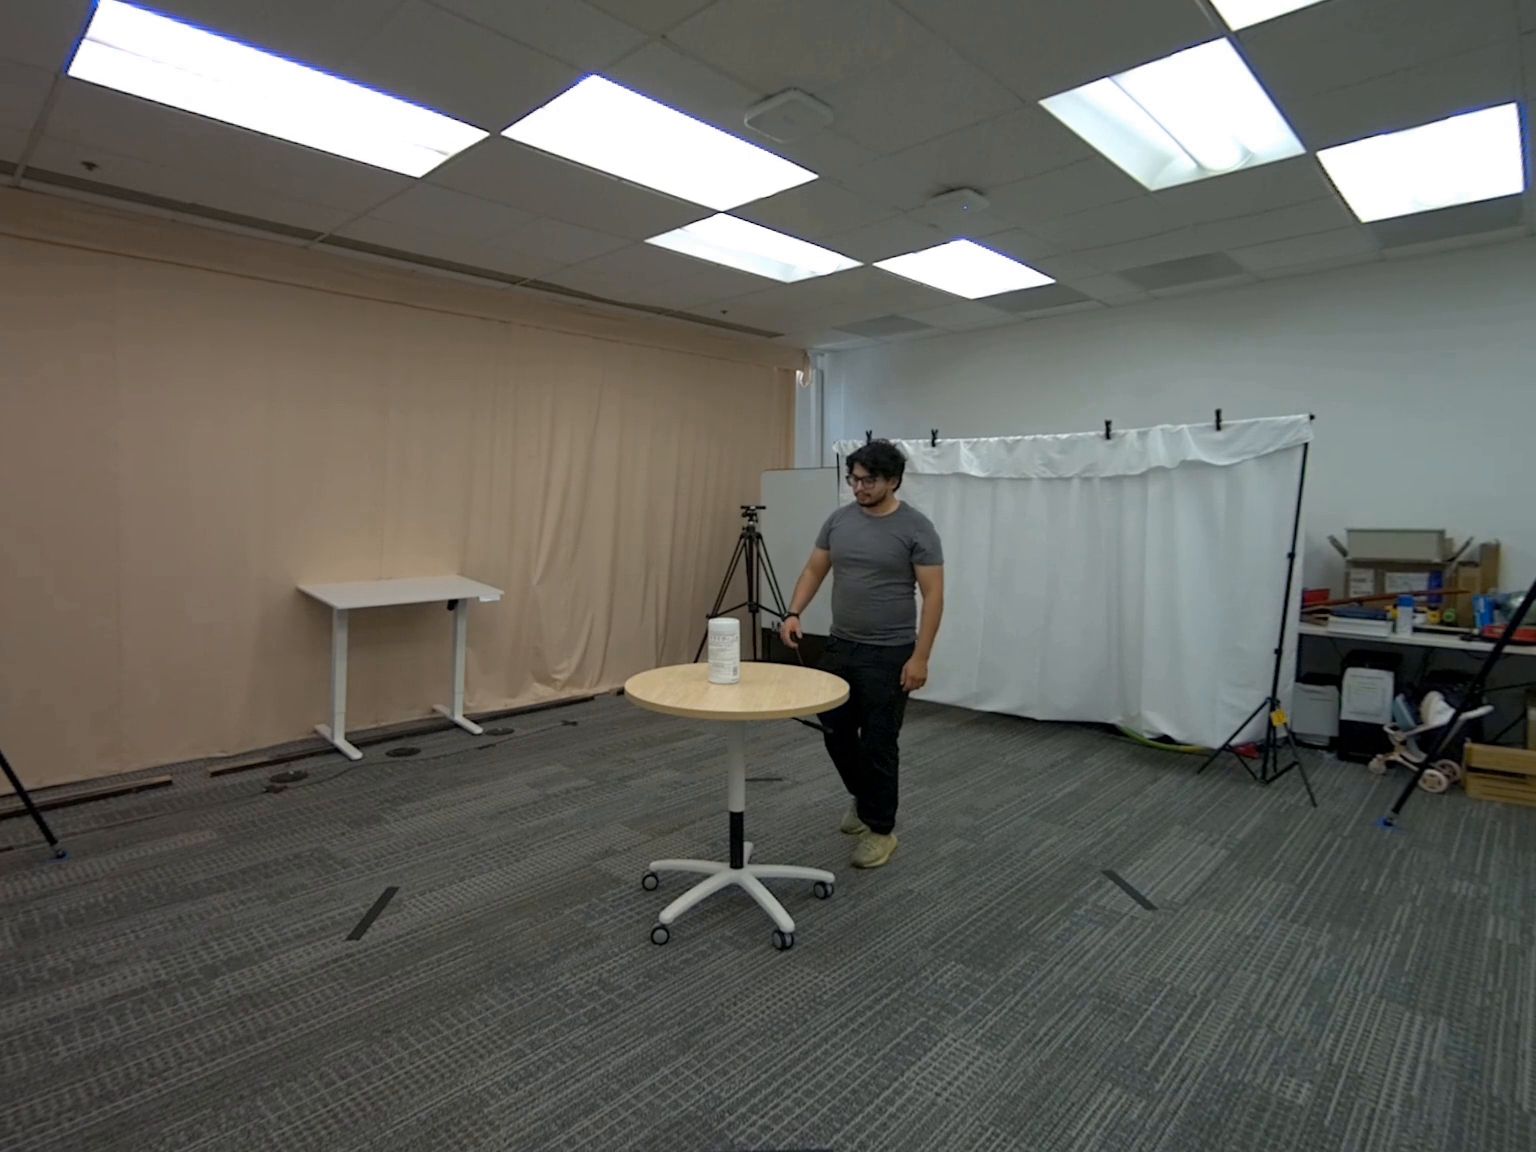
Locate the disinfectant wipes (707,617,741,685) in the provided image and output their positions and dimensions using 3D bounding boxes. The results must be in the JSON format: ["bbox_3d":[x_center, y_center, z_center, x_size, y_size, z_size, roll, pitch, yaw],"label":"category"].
[{"bbox_3d":[-0.149,0.259,2.913,0.118,0.217,0.118,0,3,-2],"label":"disinfectant wipes"}]
